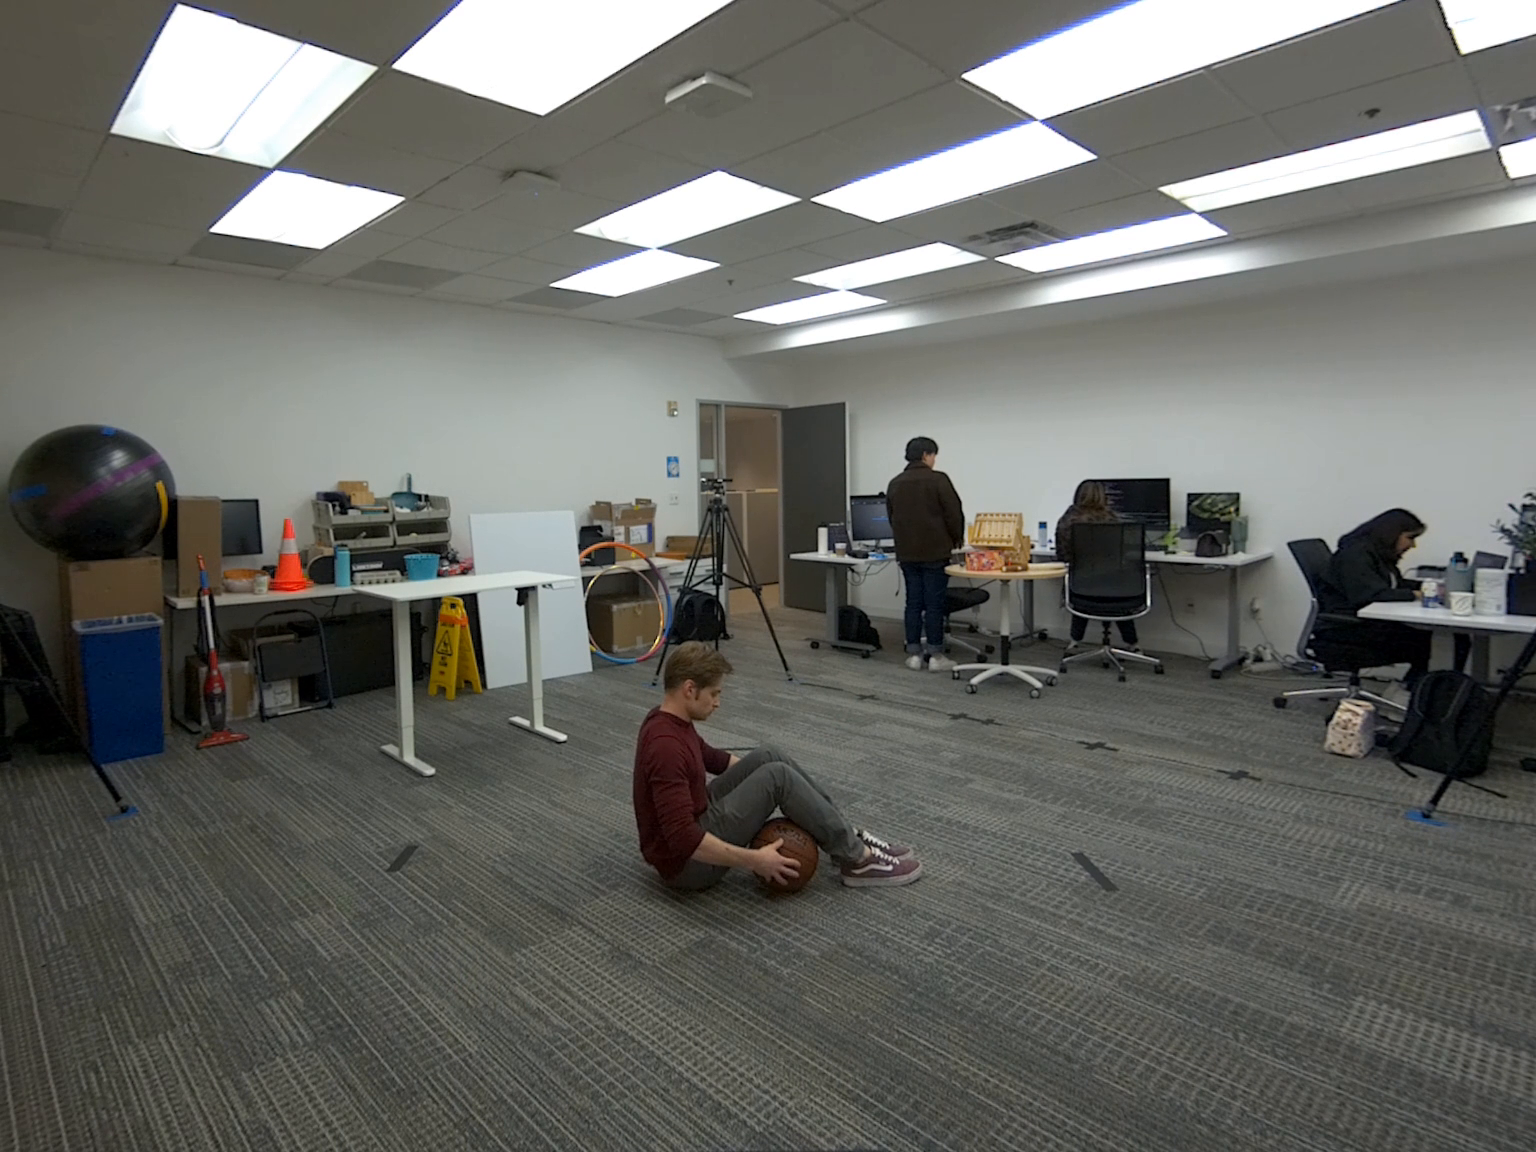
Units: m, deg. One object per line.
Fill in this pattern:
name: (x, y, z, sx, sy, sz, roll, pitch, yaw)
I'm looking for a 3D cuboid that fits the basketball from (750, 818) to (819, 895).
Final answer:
basketball: (0.044, 0.948, 2.917, 0.236, 0.235, 0.237, -1, 5, -2)
